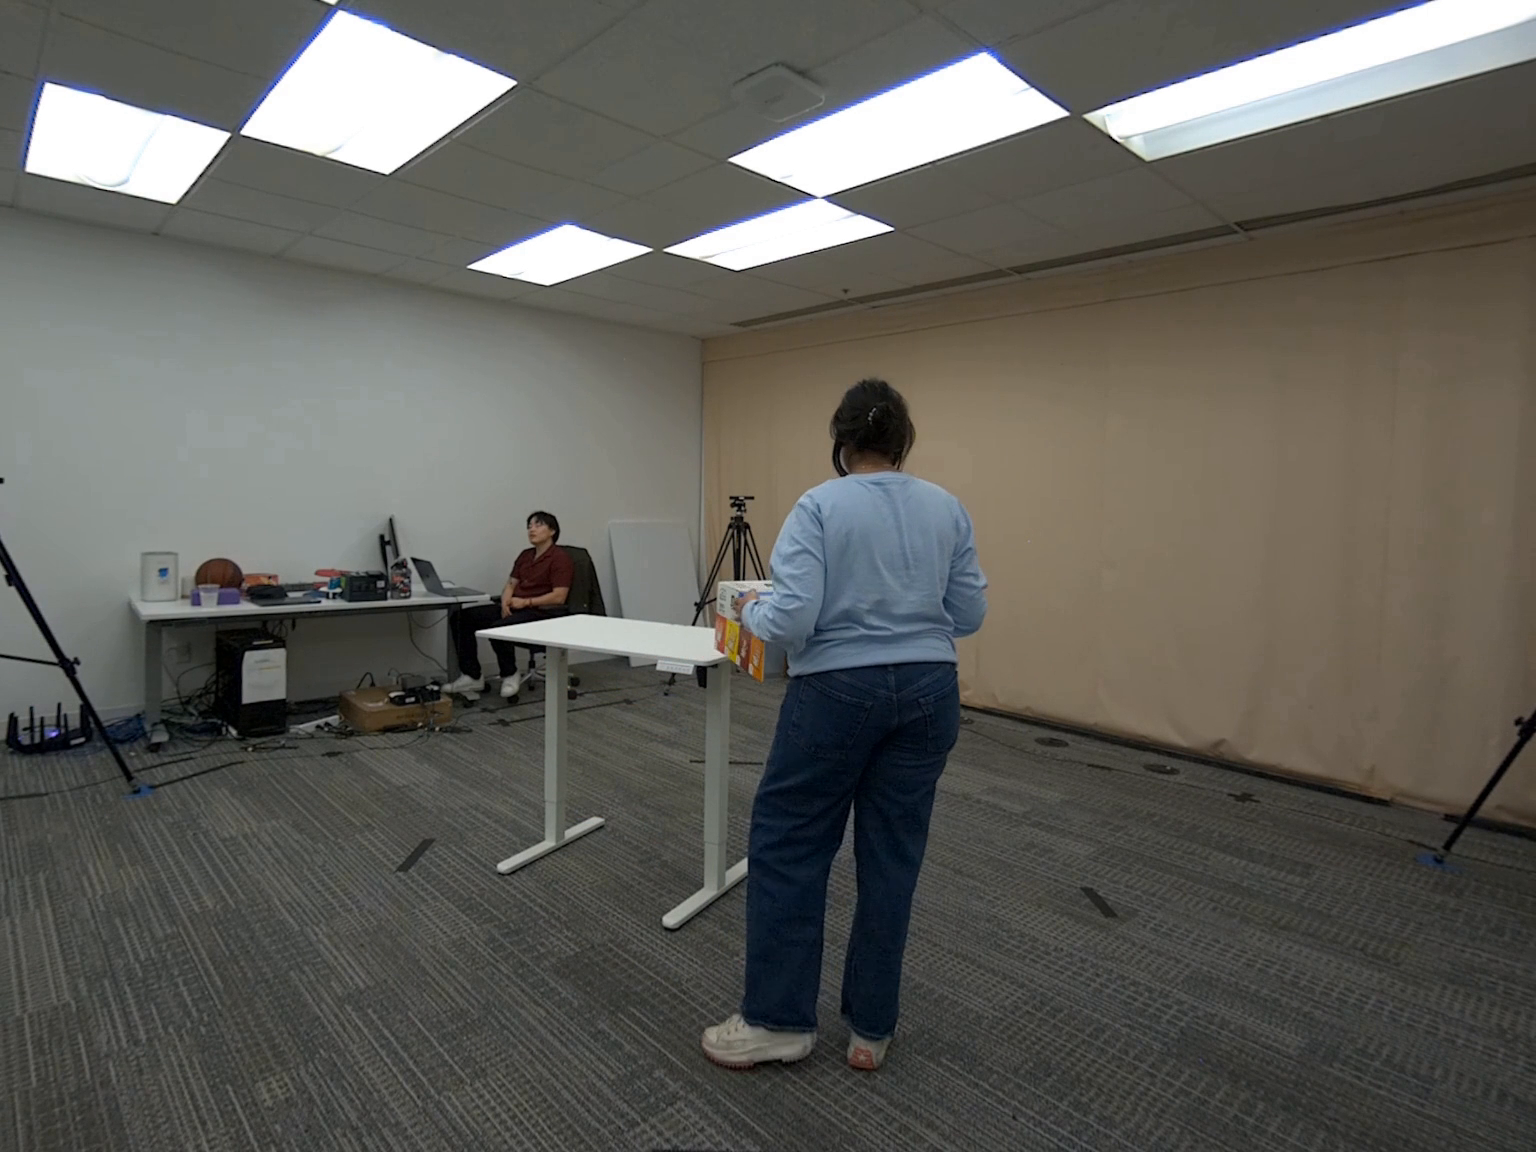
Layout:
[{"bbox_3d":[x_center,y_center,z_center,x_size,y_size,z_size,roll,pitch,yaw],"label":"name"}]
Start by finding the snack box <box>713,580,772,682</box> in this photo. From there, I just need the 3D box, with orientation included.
[{"bbox_3d":[0.098,0.149,2.407,0.398,0.204,0.348,-1,11,-24],"label":"snack box"}]
